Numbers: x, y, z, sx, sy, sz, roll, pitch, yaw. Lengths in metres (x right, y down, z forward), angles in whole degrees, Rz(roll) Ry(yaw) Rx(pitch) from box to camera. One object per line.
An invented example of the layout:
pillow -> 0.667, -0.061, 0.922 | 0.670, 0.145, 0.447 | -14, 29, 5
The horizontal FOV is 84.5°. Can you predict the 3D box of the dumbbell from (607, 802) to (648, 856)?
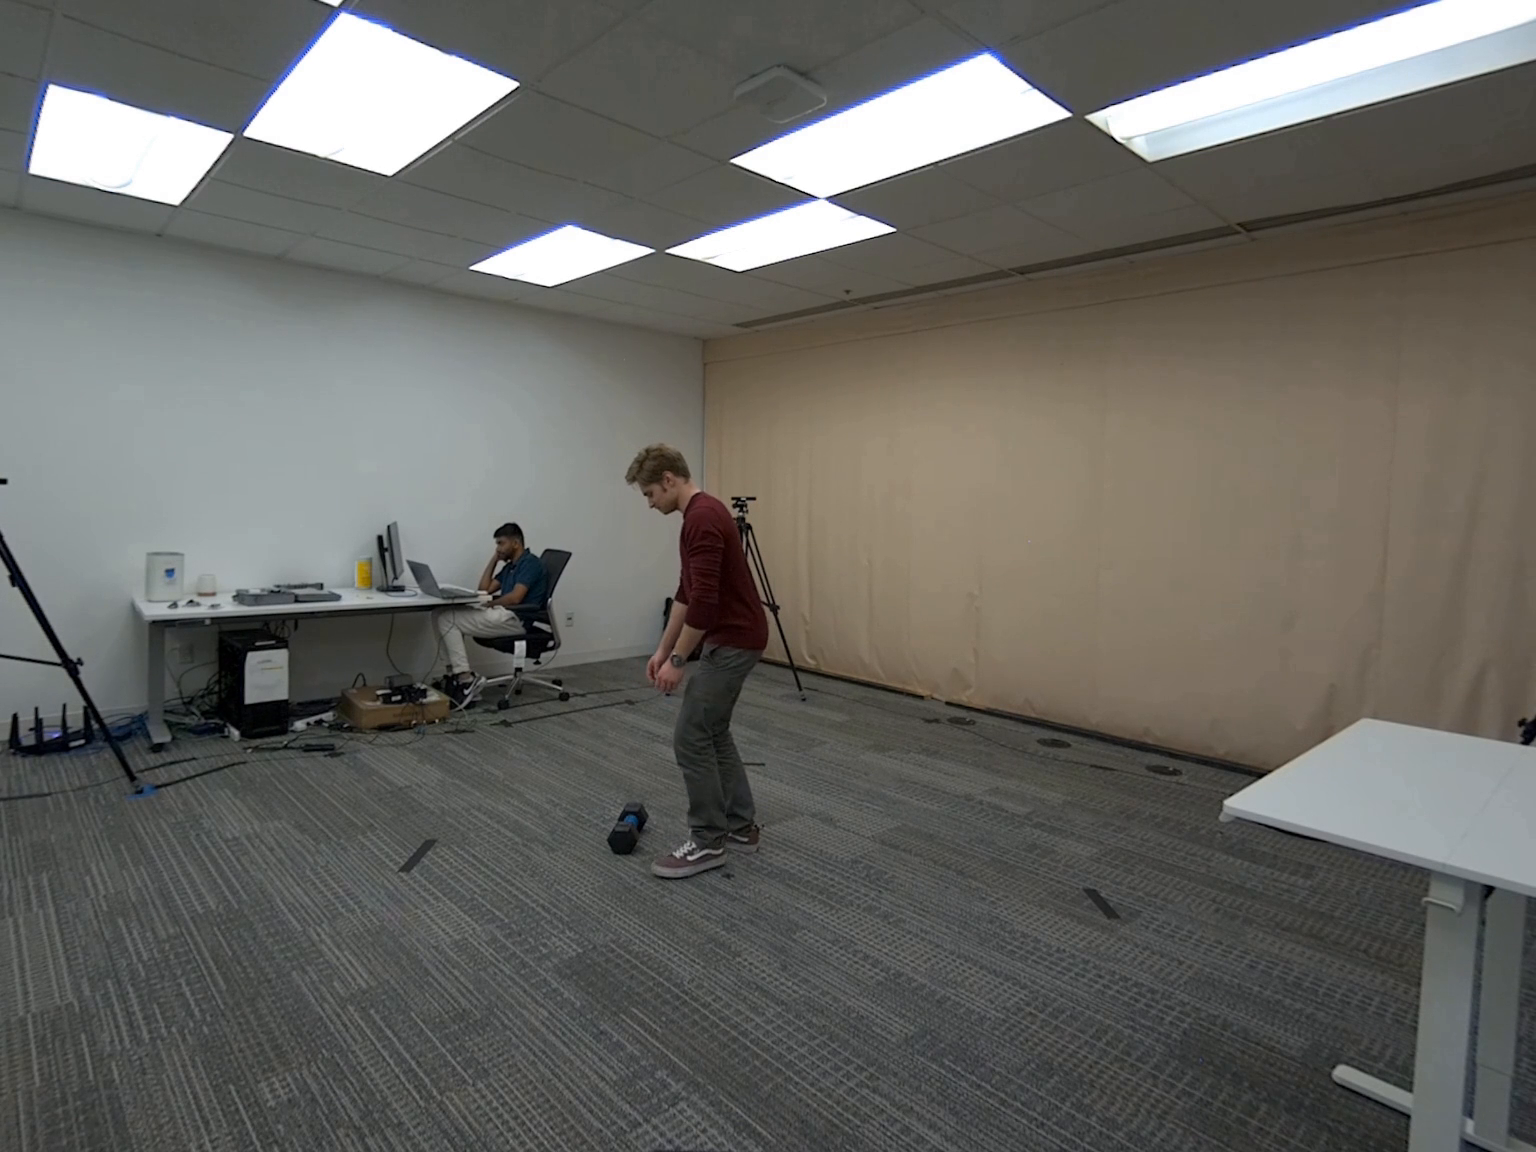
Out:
dumbbell -> -0.565, 1.014, 3.398 | 0.109, 0.123, 0.294 | 31, 4, -2
